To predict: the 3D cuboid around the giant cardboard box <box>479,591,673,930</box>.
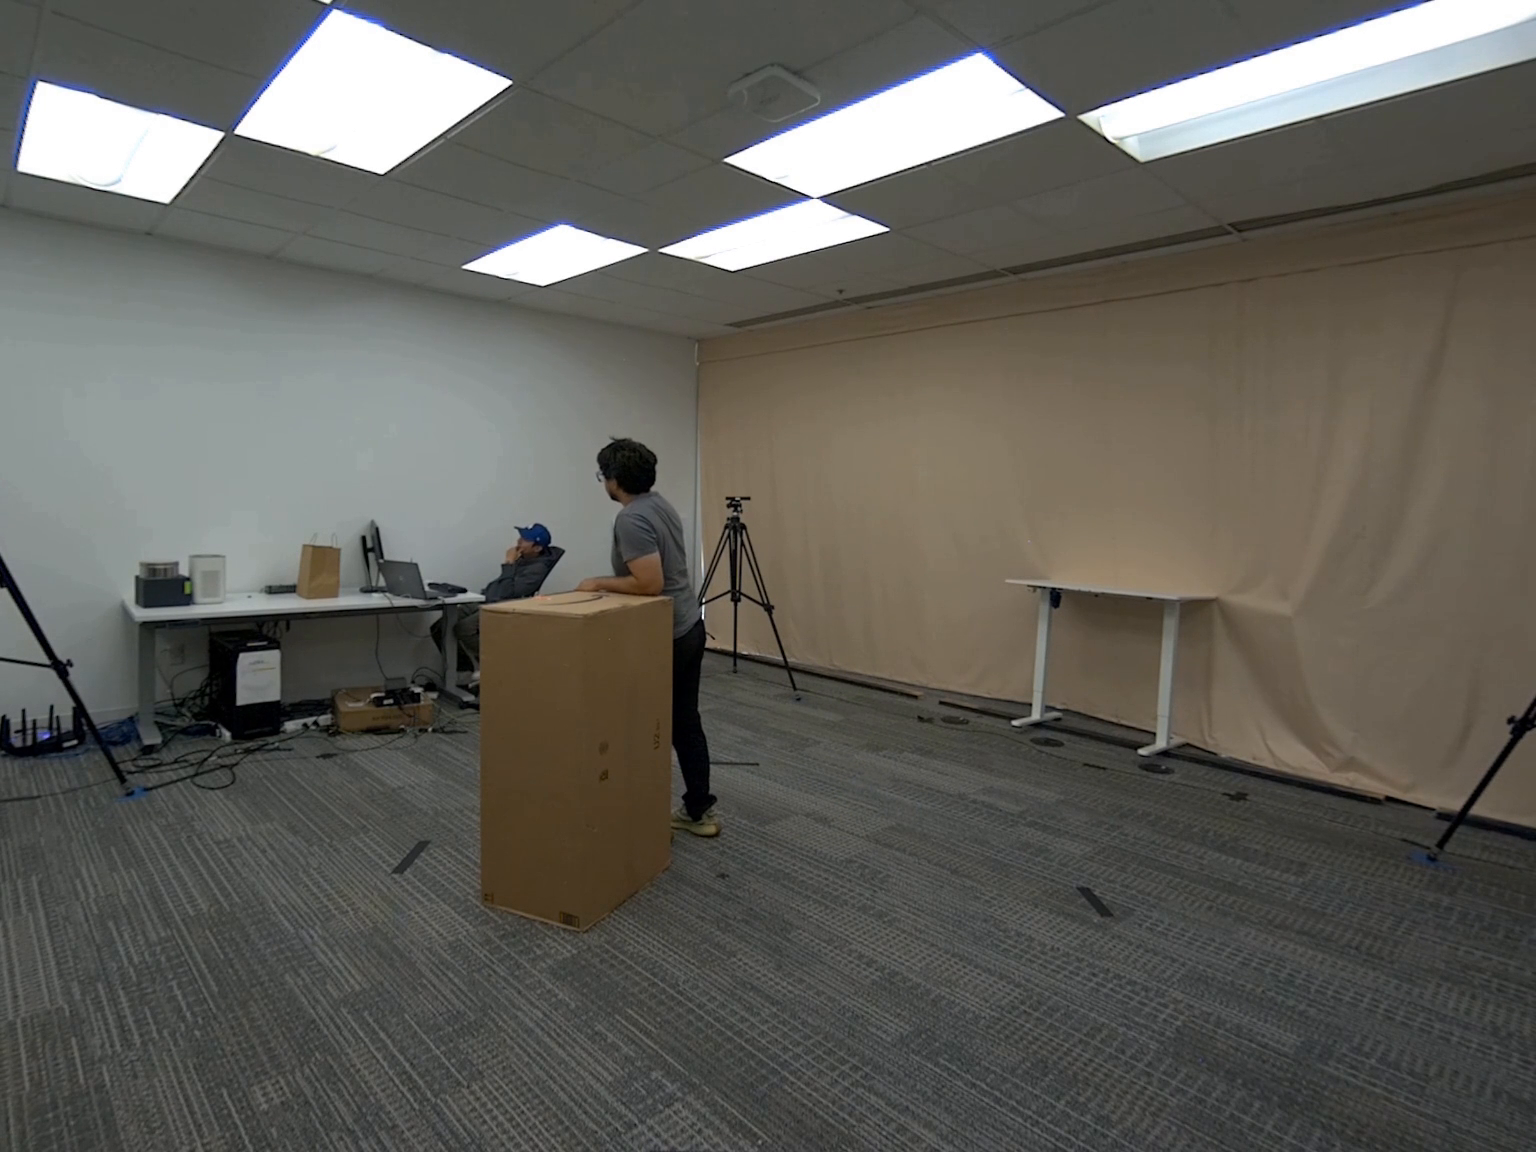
[{"bbox_3d":[-0.679,0.597,2.983,0.434,1.023,0.568,3,4,25],"label":"giant cardboard box"}]
